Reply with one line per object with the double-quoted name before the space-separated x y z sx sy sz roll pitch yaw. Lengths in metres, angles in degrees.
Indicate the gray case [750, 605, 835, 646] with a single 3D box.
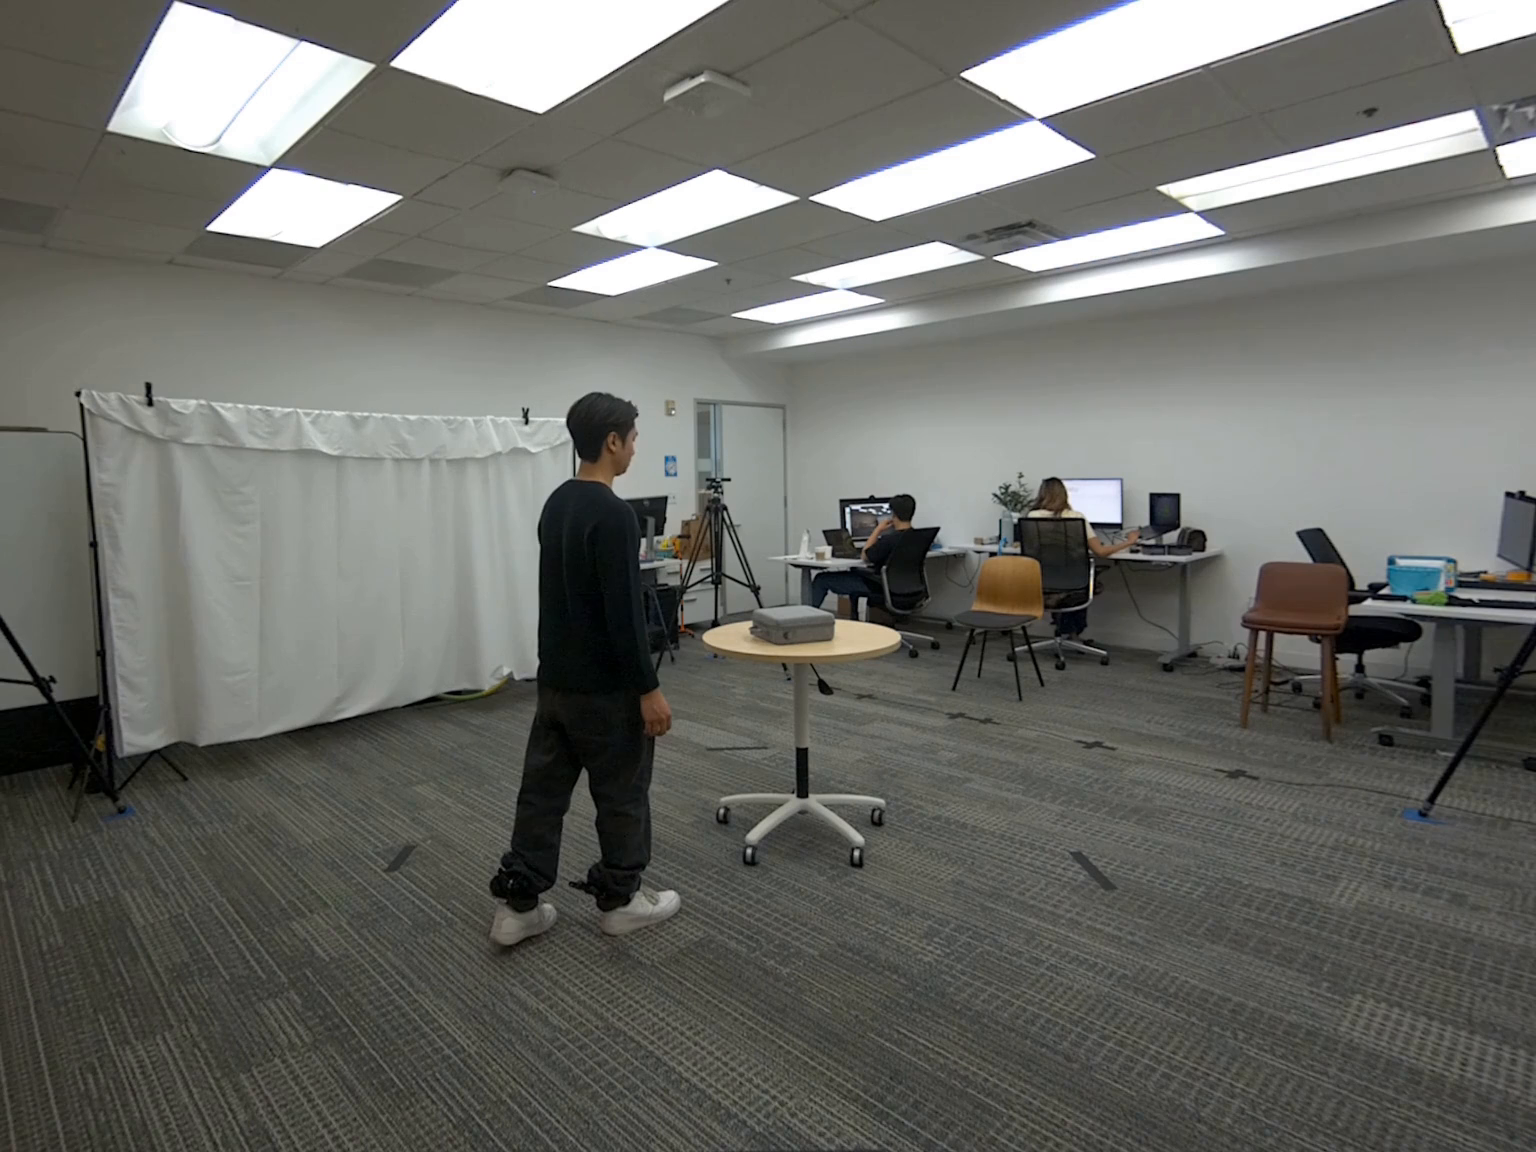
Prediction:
"gray case" 0.090 0.183 3.267 0.256 0.104 0.263 -4 8 -21
